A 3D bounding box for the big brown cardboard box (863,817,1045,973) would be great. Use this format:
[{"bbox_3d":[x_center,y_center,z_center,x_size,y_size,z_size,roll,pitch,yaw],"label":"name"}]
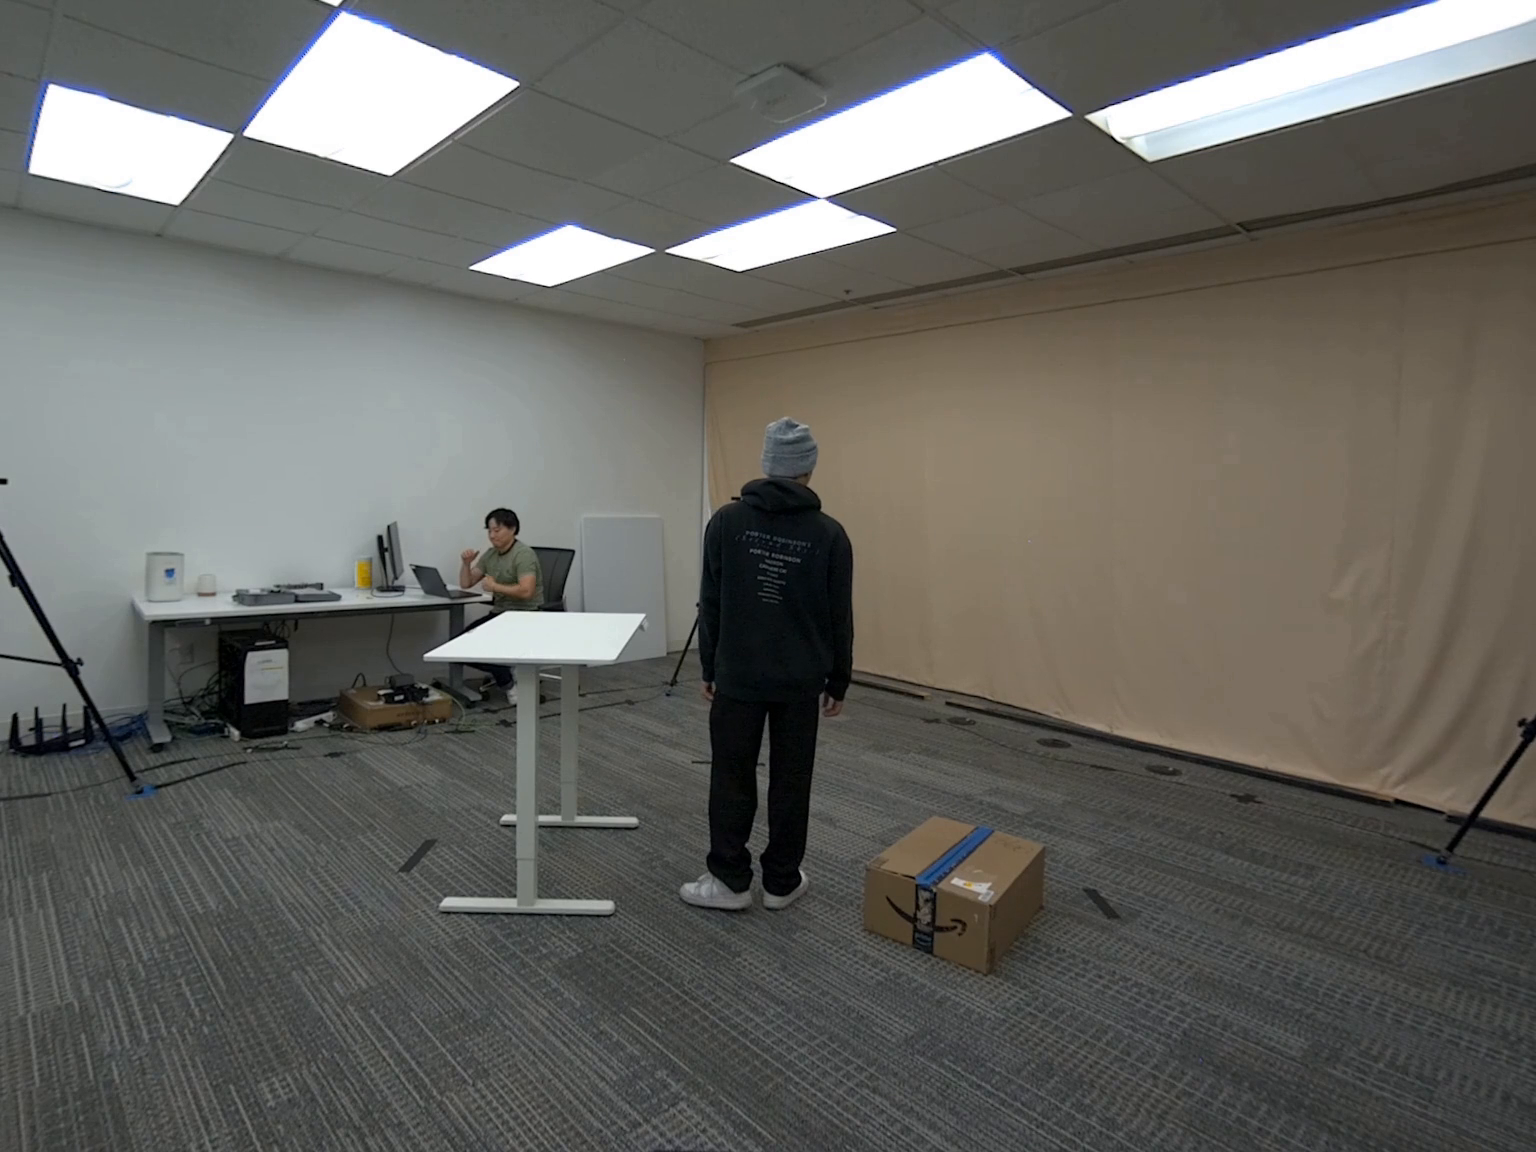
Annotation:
[{"bbox_3d":[0.628,1.040,2.828,0.427,0.232,0.576,5,5,34],"label":"big brown cardboard box"}]
